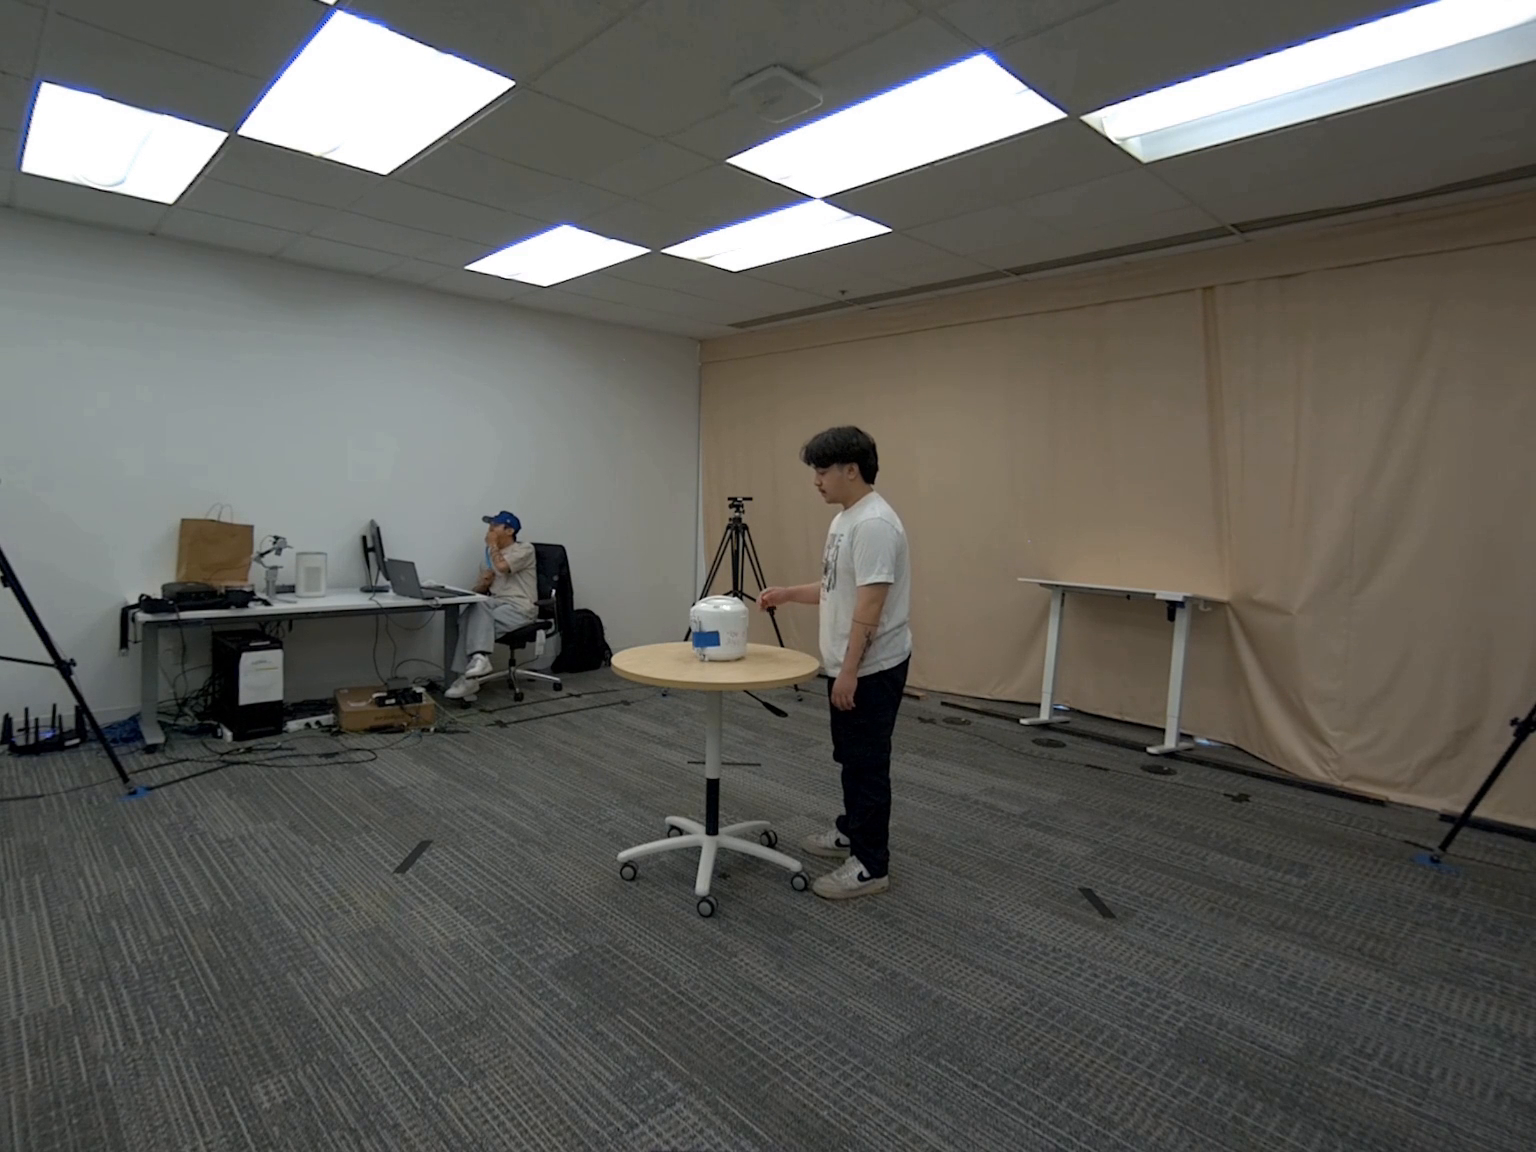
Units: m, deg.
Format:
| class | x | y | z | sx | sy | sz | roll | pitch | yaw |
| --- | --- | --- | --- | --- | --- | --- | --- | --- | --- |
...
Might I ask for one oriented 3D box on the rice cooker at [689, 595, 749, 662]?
| class | x | y | z | sx | sy | sz | roll | pitch | yaw |
| --- | --- | --- | --- | --- | --- | --- | --- | --- | --- |
| rice cooker | -0.189 | 0.186 | 3.147 | 0.220 | 0.232 | 0.219 | 2 | 4 | -5 |
